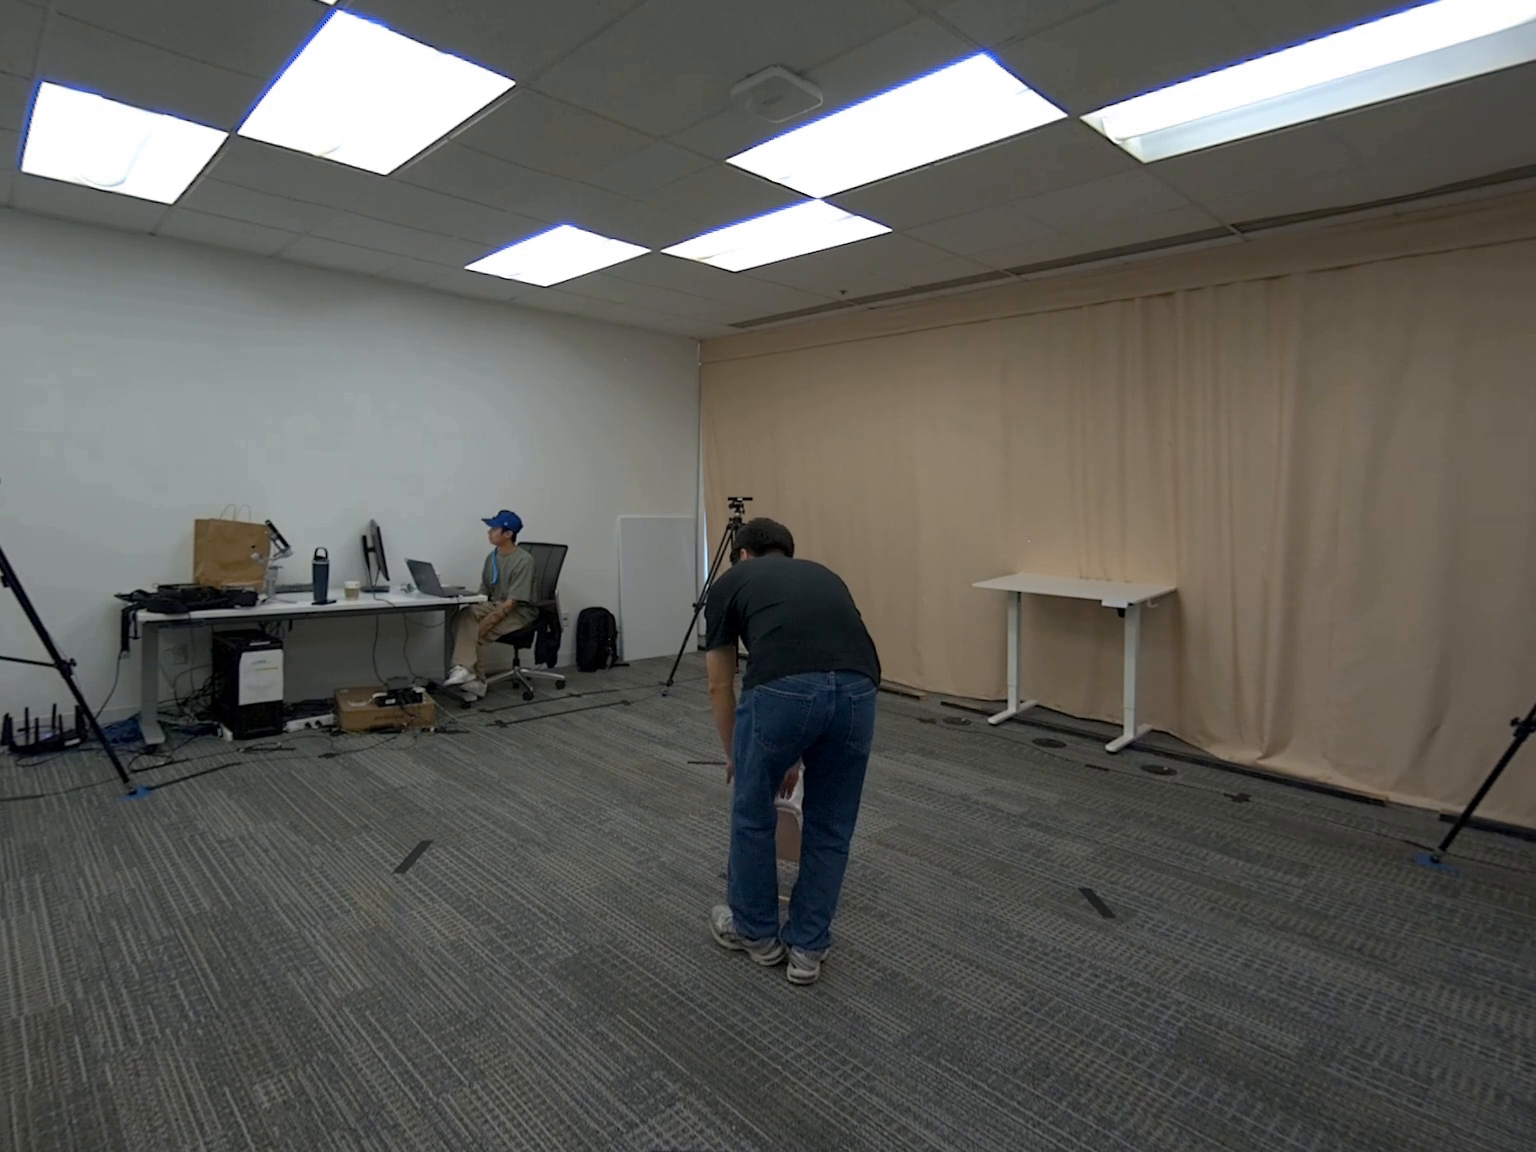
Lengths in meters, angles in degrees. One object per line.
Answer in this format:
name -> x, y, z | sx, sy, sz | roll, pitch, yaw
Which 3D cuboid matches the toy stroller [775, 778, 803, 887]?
toy stroller -> 0.075, 0.907, 2.949 | 0.288, 0.527, 0.338 | 5, 21, 32
